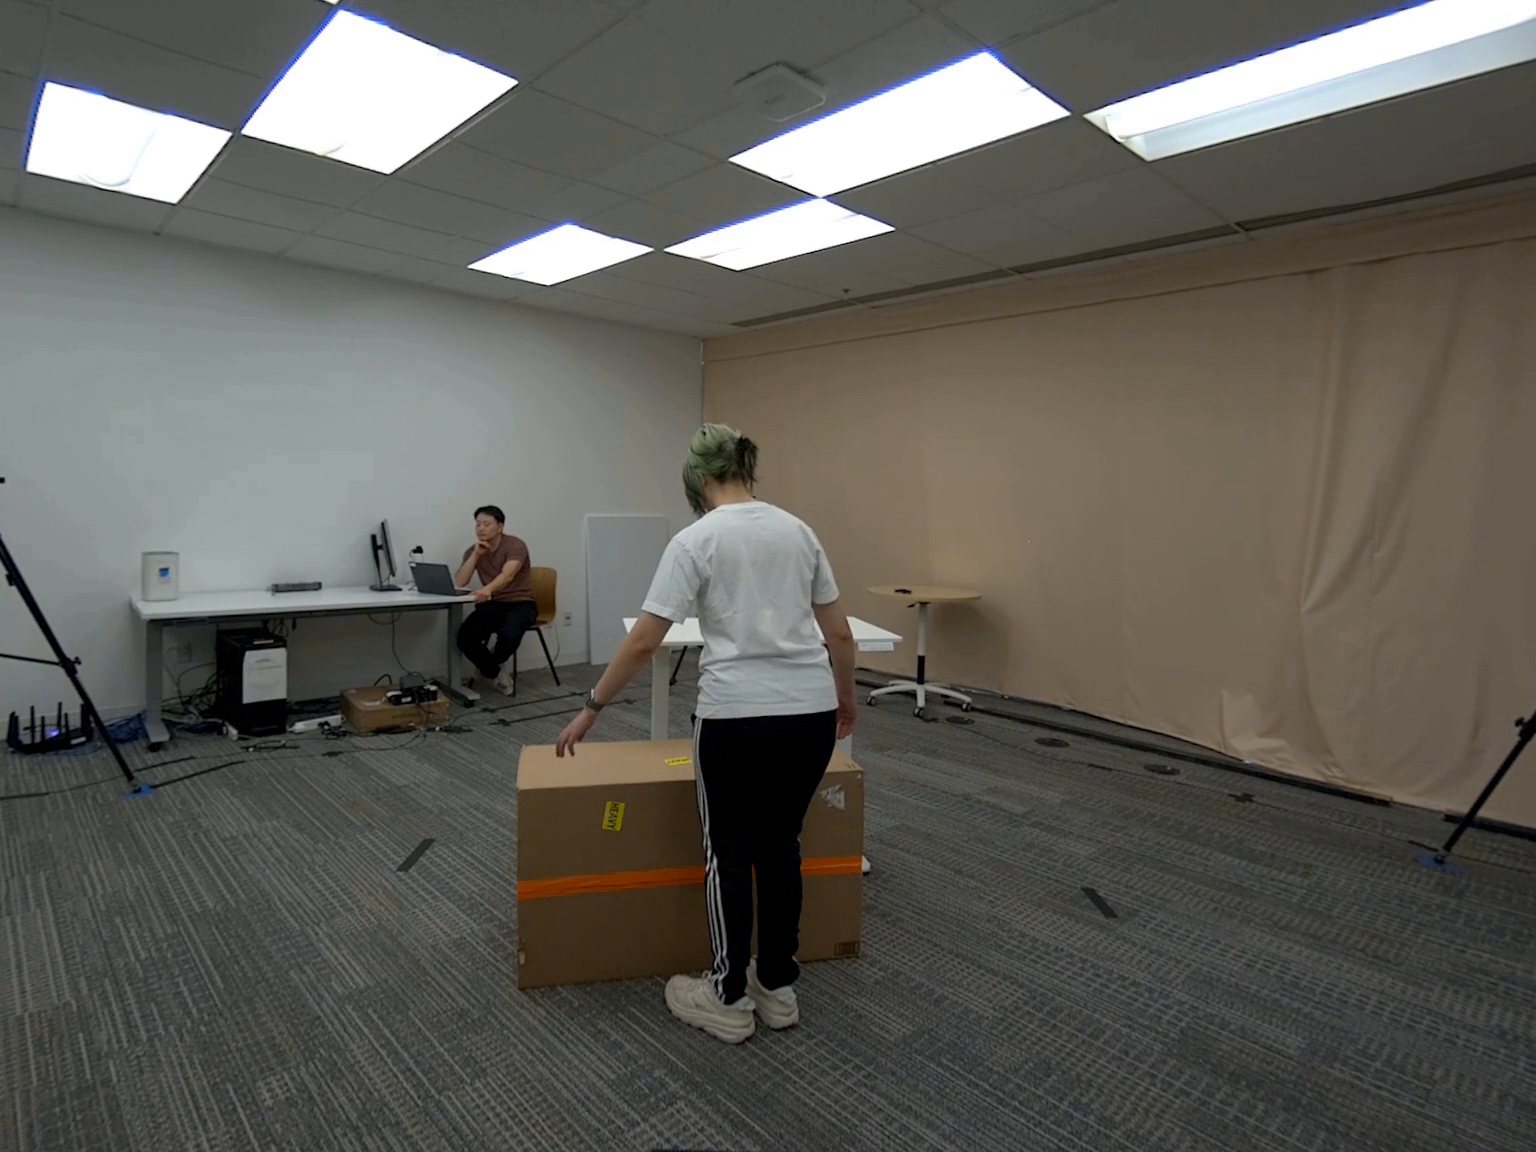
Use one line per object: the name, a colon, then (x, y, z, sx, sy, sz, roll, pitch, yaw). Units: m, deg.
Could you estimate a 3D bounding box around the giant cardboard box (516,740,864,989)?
giant cardboard box: (-0.265, 0.854, 2.647, 1.016, 0.582, 0.452, 0, 4, -13)
